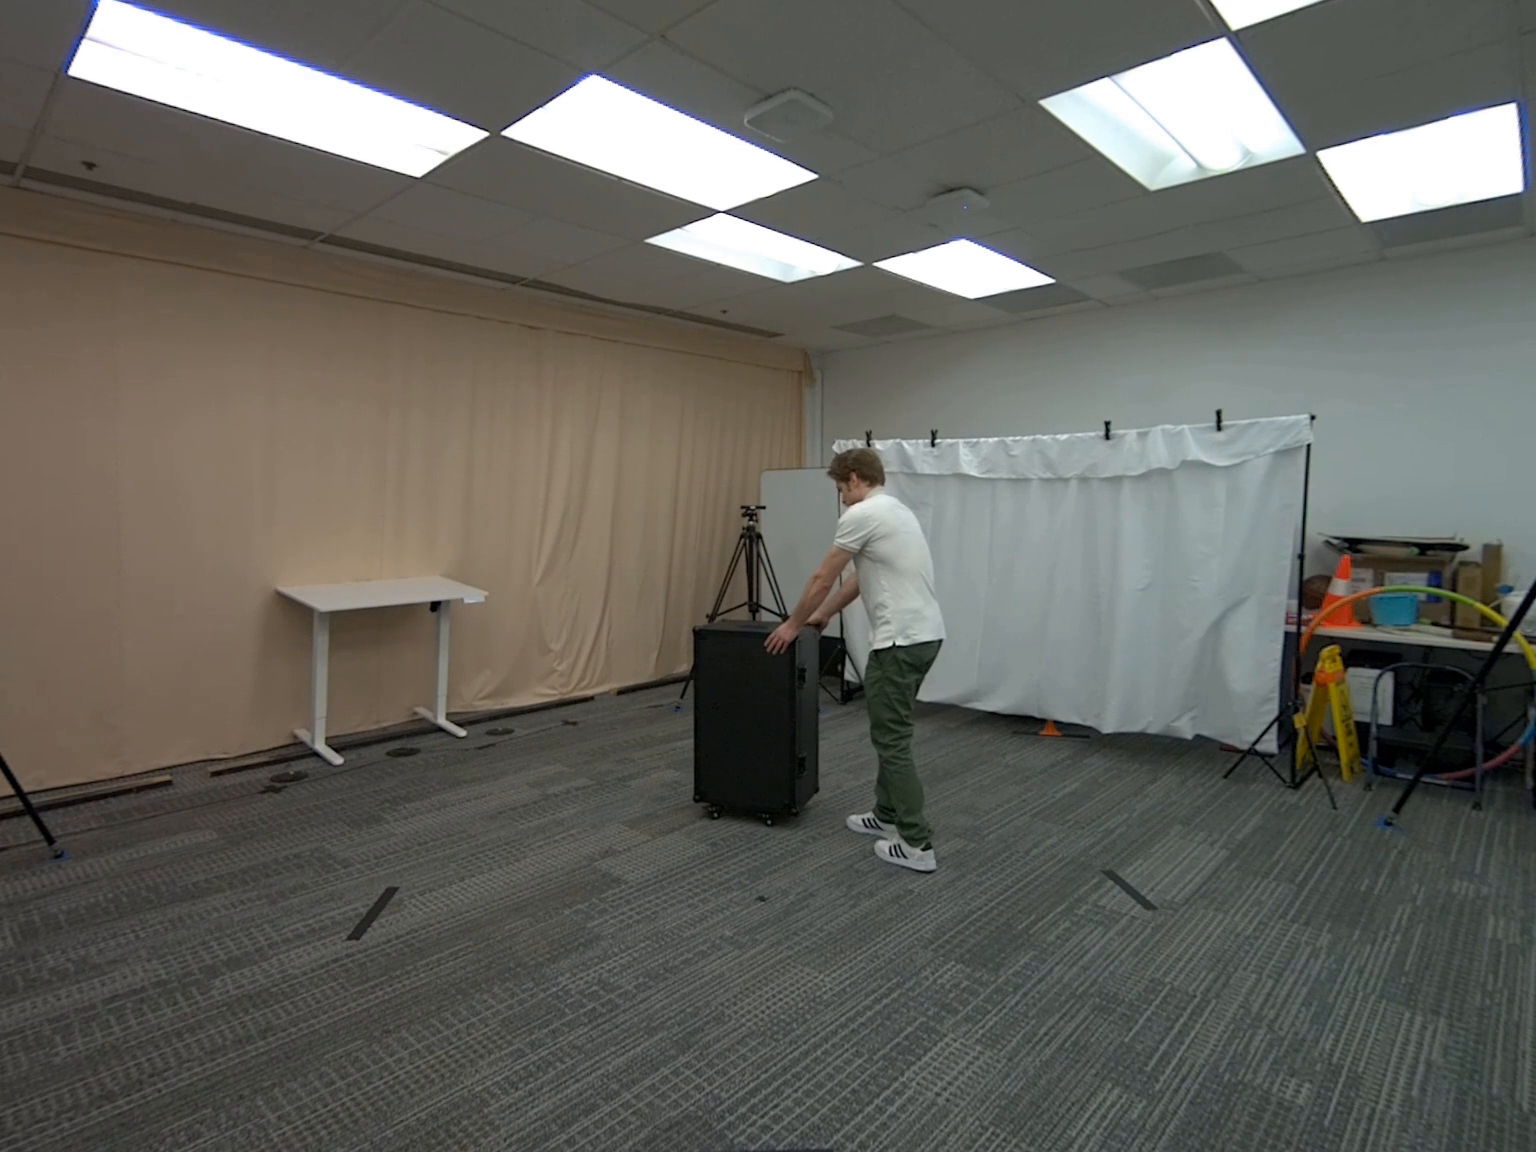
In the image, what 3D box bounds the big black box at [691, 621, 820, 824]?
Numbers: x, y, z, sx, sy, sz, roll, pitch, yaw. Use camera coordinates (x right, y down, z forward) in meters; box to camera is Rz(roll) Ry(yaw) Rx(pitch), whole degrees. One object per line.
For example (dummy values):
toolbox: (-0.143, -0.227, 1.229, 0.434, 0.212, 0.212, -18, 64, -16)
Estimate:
big black box: (-0.053, 0.652, 3.834, 0.535, 0.867, 0.377, 2, 2, 21)
